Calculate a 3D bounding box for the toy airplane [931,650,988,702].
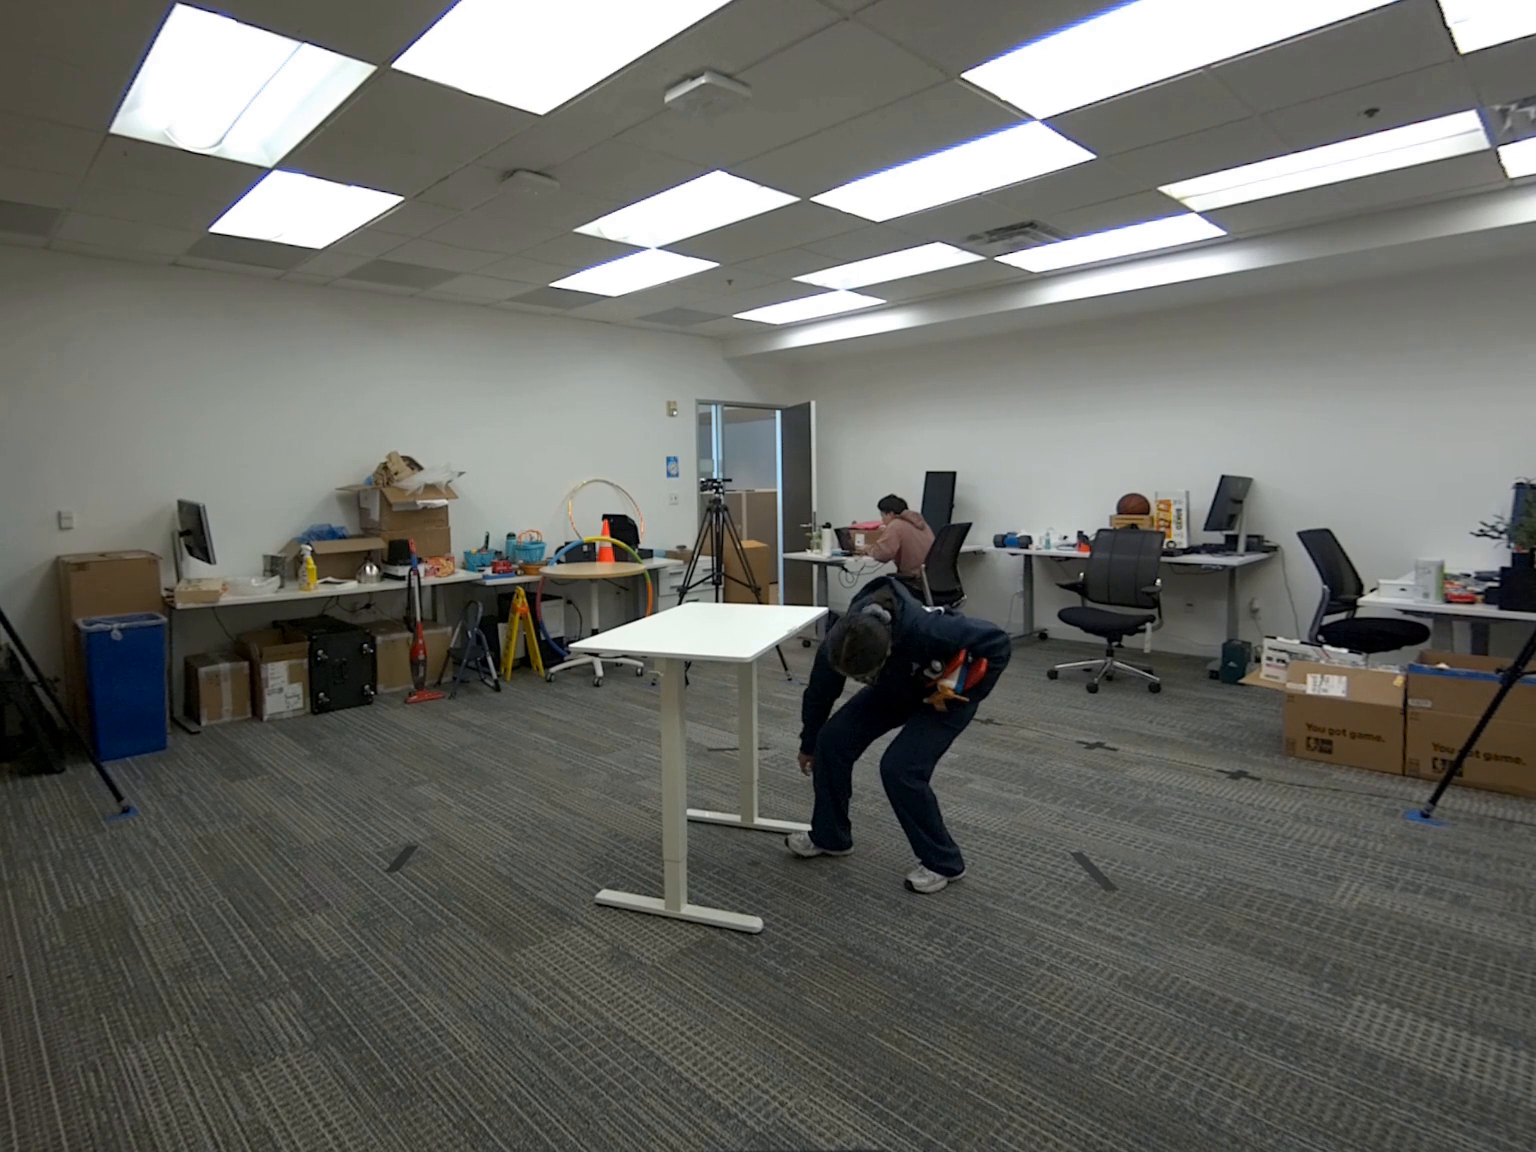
[{"bbox_3d":[0.611,0.274,2.811,0.157,0.259,0.250,39,-3,3],"label":"toy airplane"}]
